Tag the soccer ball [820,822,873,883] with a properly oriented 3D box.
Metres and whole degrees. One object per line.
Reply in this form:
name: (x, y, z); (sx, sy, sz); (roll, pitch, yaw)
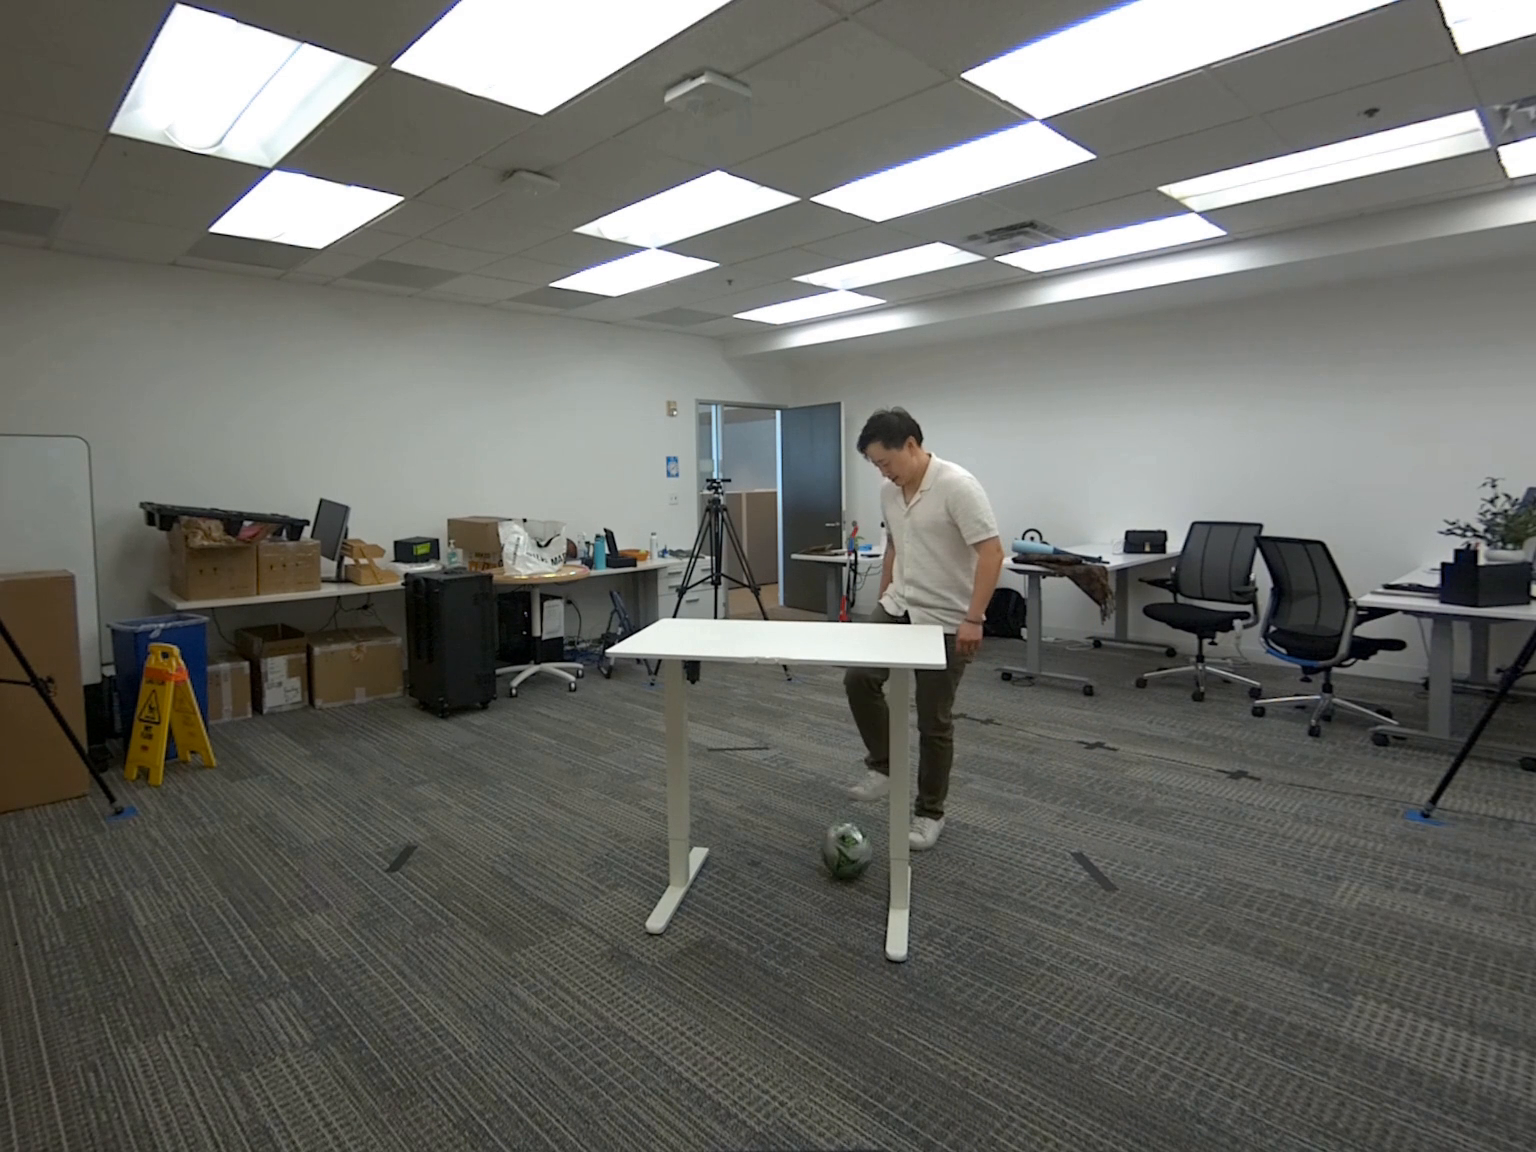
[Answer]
soccer ball: (0.279, 0.960, 2.994); (0.187, 0.187, 0.188); (-1, 5, -2)
